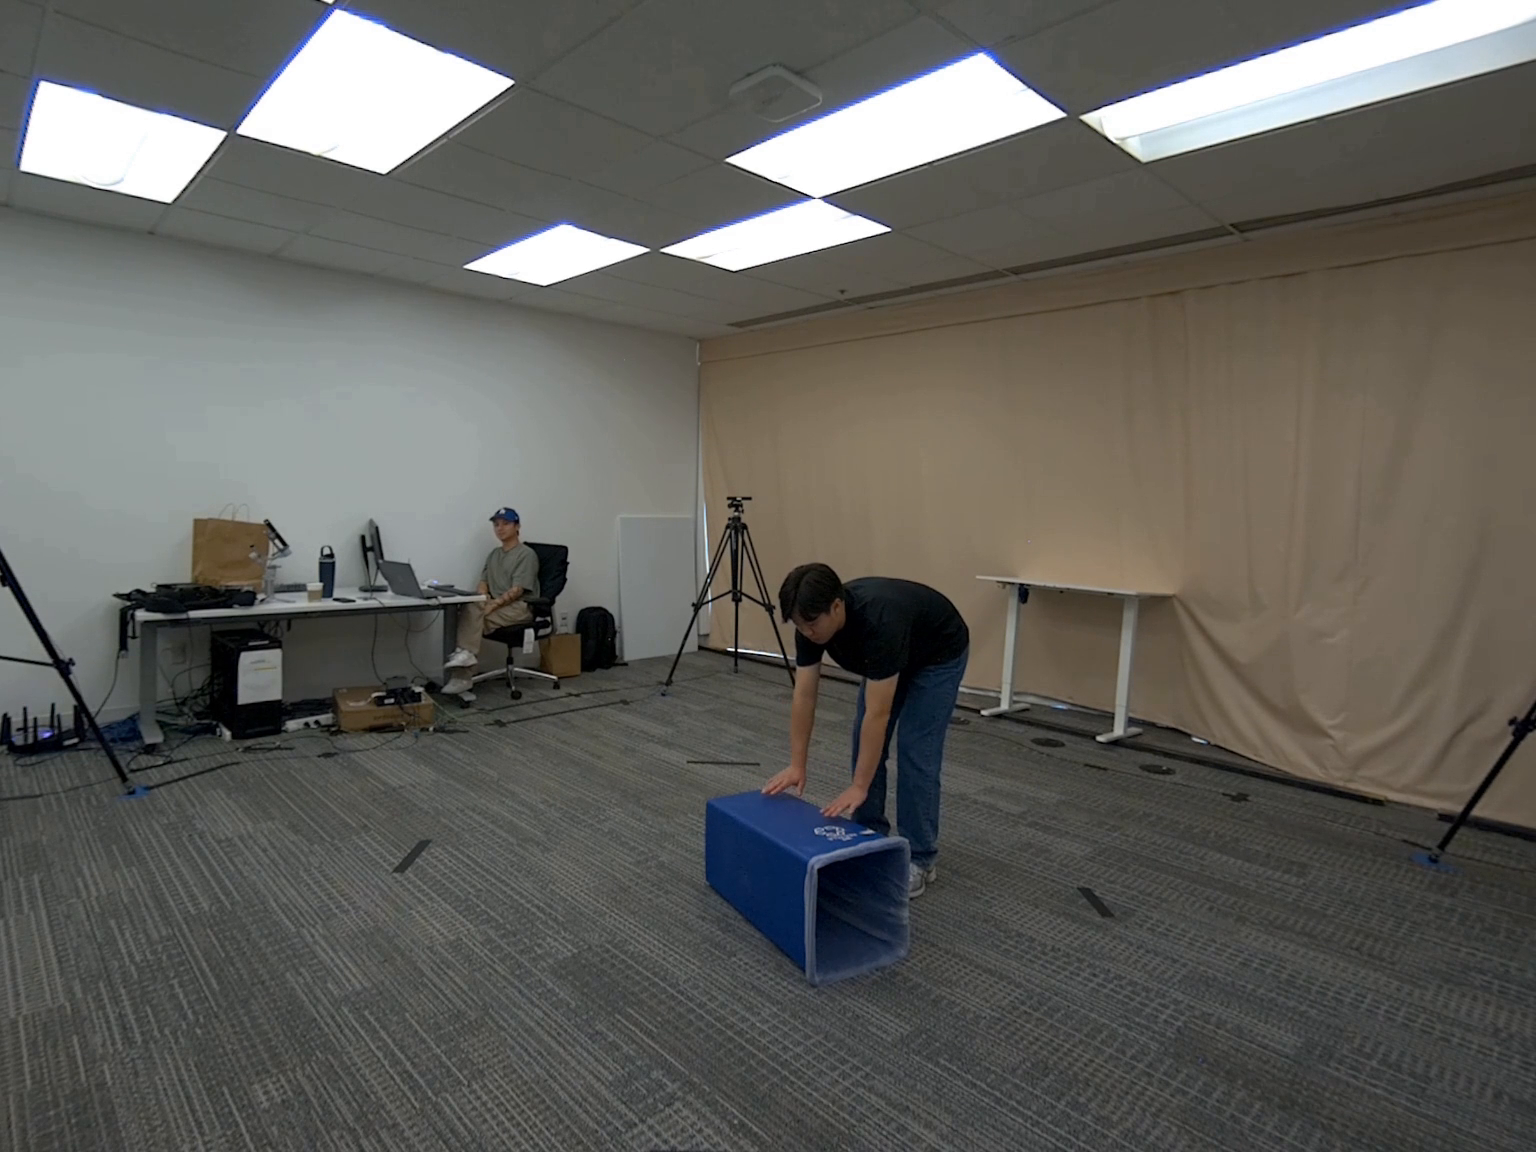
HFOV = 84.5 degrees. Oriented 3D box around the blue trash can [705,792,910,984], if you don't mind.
[{"bbox_3d":[0.083,0.974,2.783,0.366,0.378,0.729,-1,2,-32],"label":"blue trash can"}]
